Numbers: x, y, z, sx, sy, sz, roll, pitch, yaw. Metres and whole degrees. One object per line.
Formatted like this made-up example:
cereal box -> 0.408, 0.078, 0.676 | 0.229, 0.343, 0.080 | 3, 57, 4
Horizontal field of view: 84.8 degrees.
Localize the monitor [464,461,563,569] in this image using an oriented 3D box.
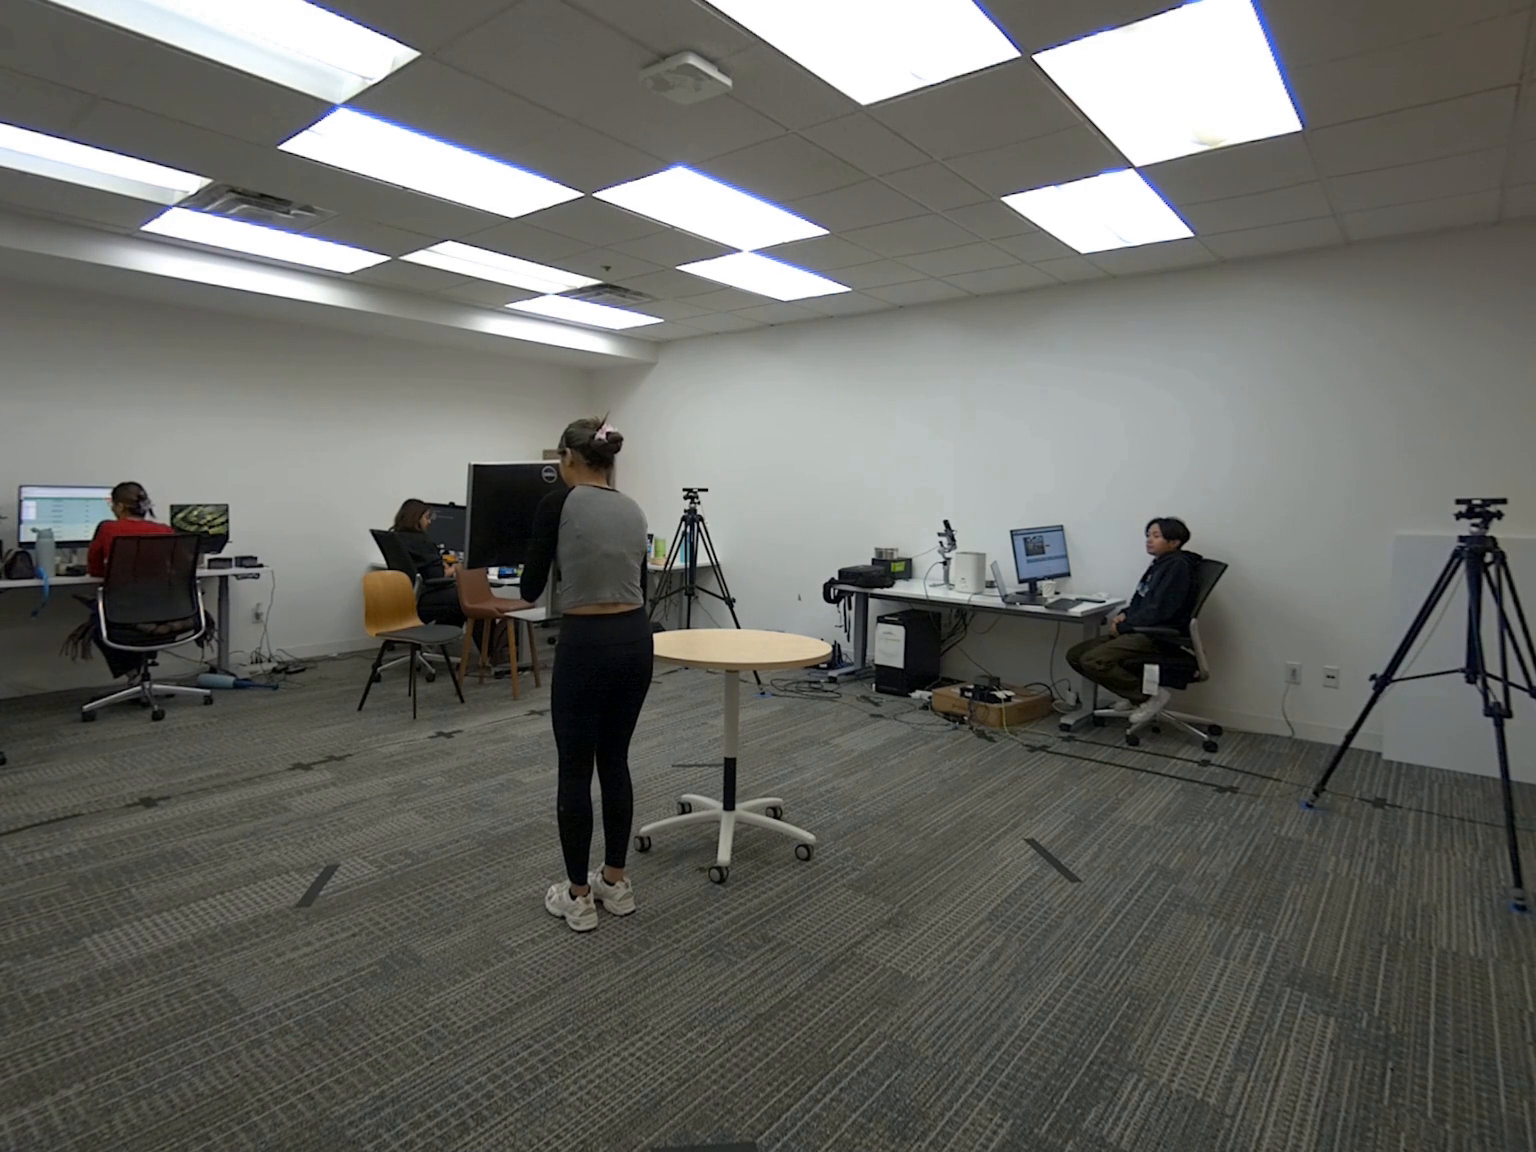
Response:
monitor -> -0.778, -0.131, 2.955 | 0.193, 0.520, 0.524 | 5, 8, 43
